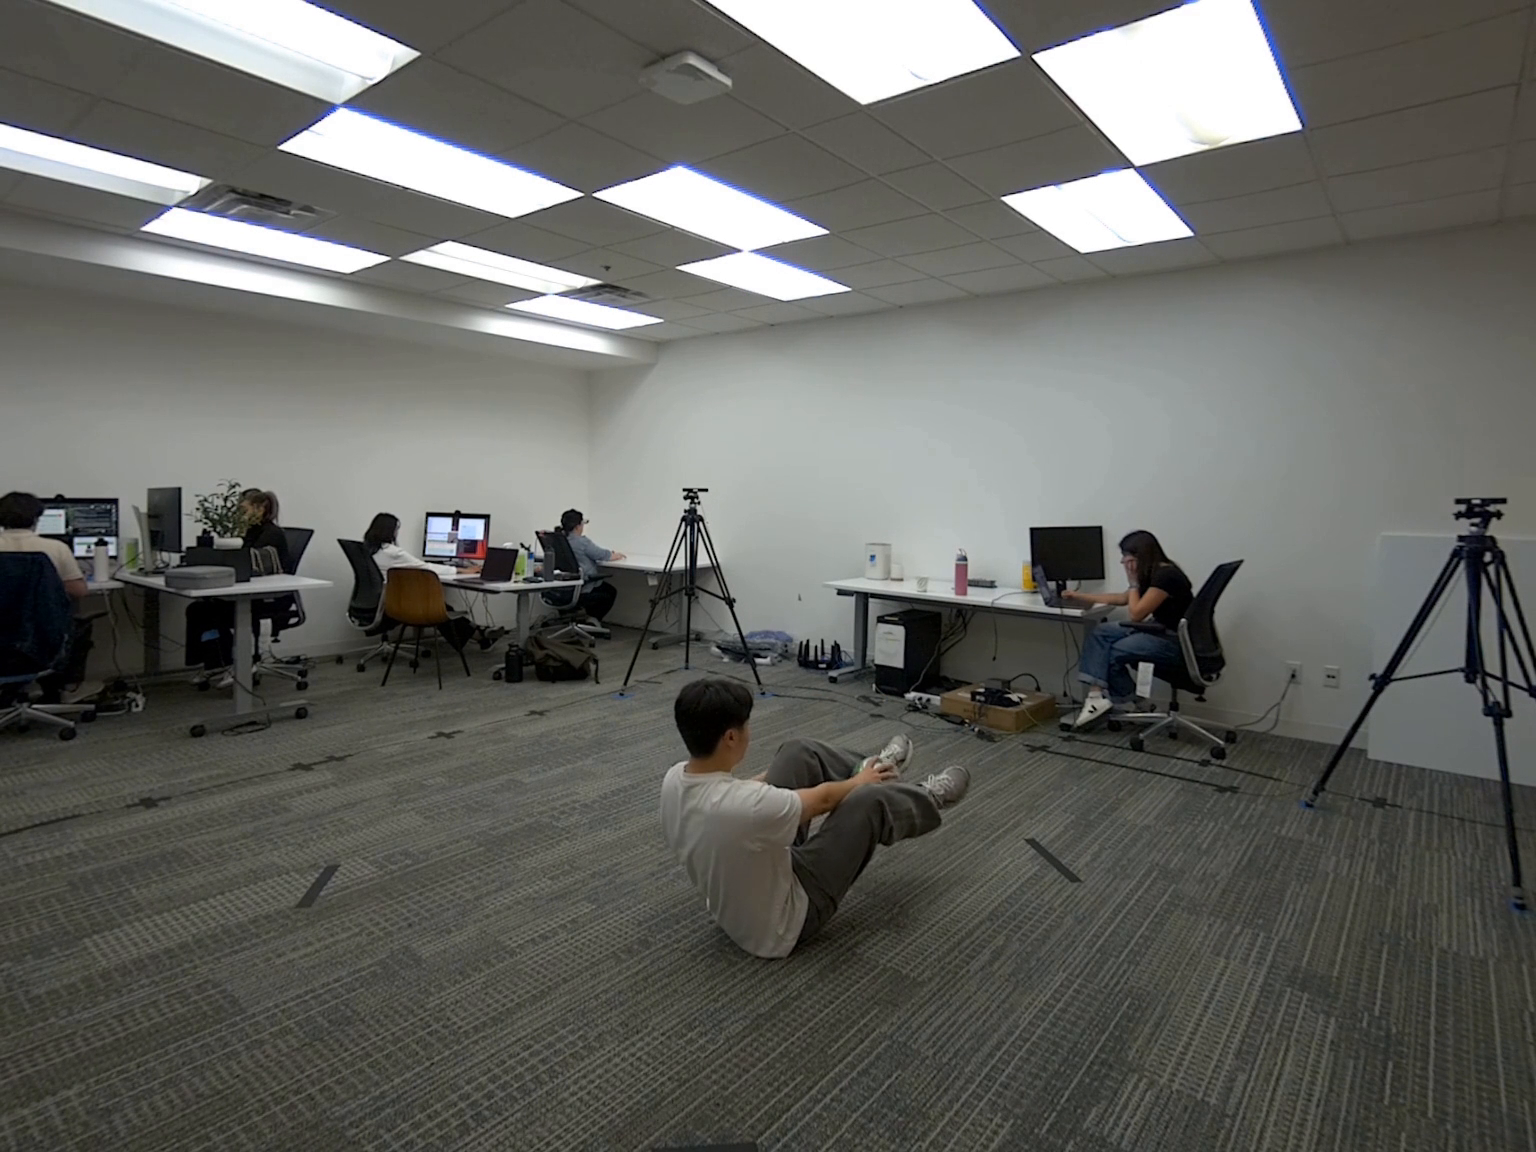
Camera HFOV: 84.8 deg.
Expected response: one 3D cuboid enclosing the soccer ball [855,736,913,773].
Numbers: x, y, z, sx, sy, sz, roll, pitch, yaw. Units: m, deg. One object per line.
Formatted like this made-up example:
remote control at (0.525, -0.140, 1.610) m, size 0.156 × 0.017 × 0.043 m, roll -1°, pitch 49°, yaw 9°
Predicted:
soccer ball at (0.386, 0.712, 2.941) m, size 0.187 × 0.187 × 0.188 m, roll 1°, pitch 4°, yaw -2°
